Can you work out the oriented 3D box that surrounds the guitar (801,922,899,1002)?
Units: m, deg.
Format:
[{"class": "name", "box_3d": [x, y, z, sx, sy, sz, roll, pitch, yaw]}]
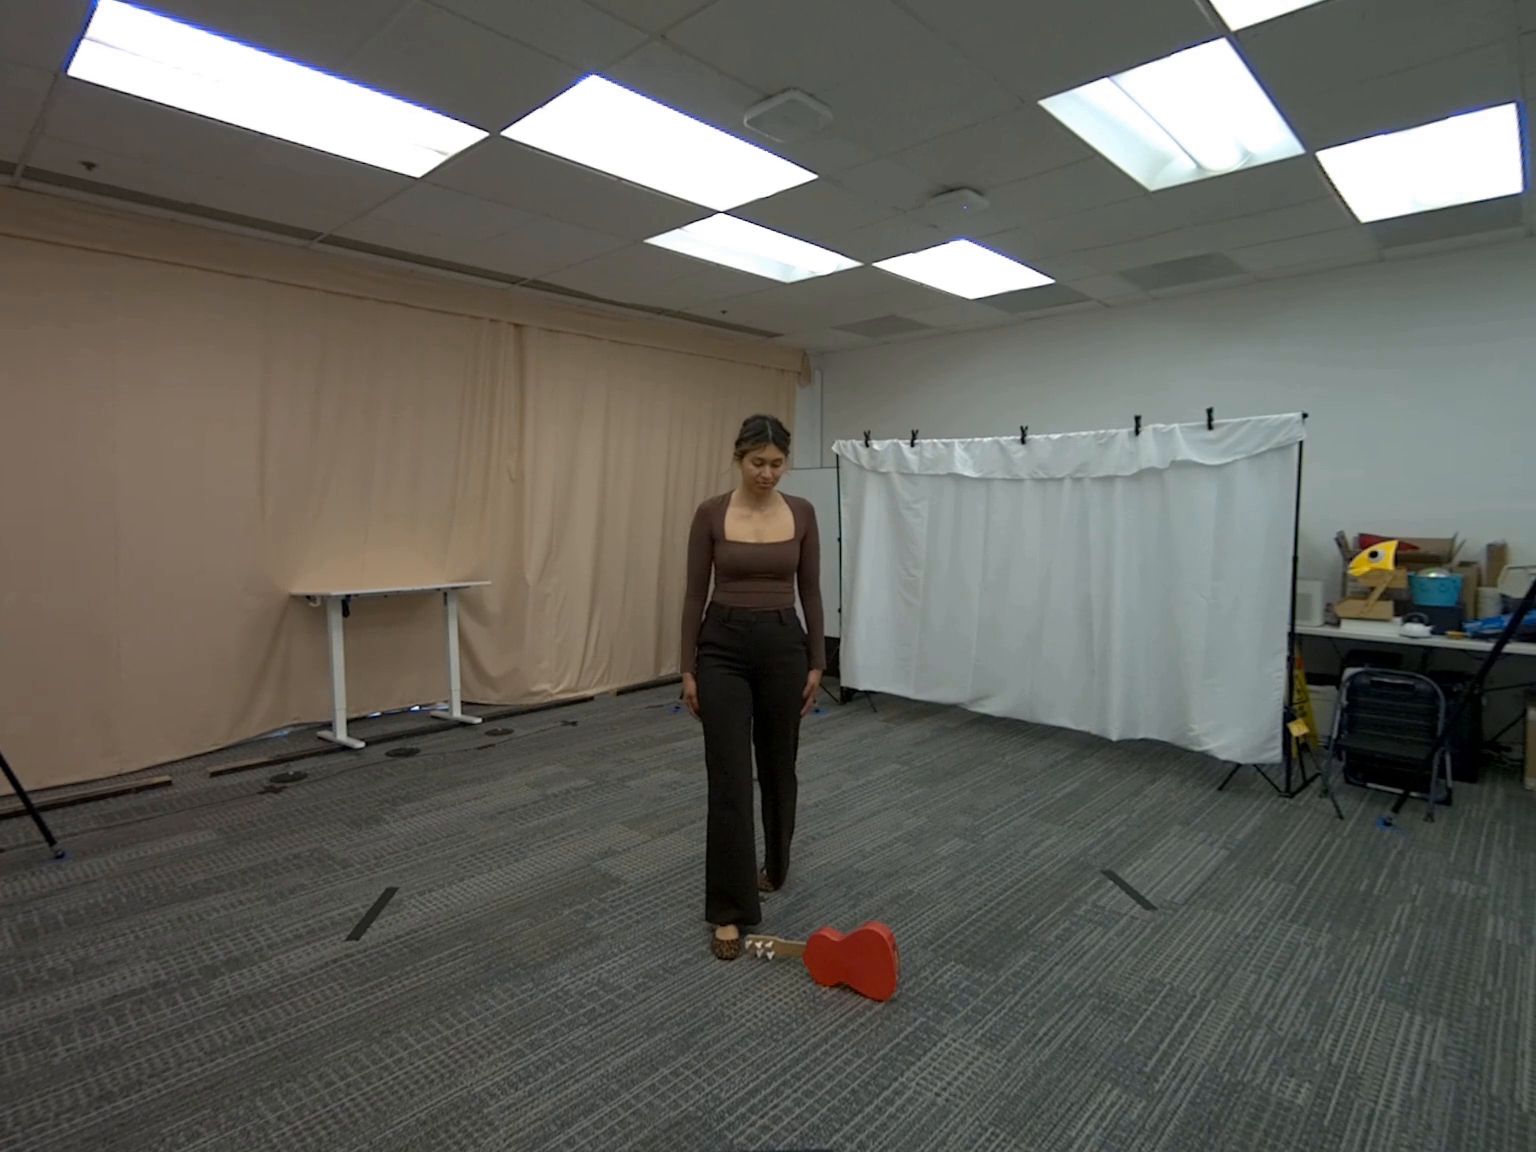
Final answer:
[{"class": "guitar", "box_3d": [0.155, 1.146, 2.478, 0.508, 0.194, 0.069, -18, -9, 27]}]
